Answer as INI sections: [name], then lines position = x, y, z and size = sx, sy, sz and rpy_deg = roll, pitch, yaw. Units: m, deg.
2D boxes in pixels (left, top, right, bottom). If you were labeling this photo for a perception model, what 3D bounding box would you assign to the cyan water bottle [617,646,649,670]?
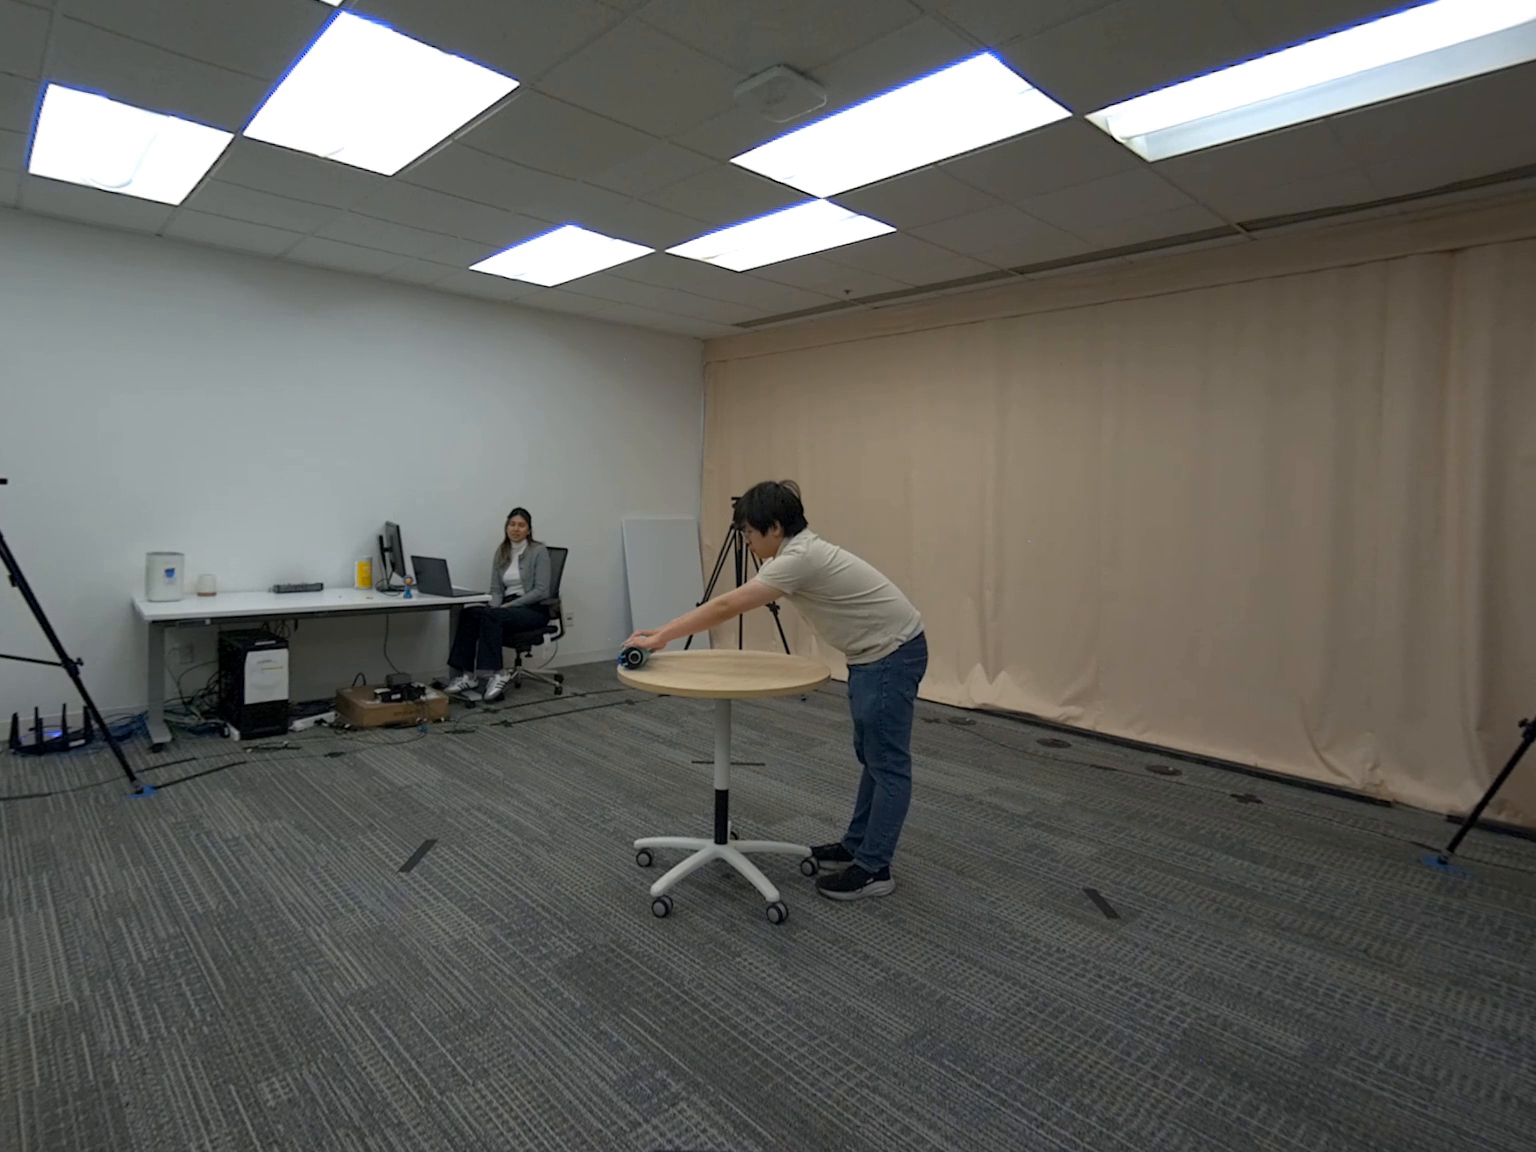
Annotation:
[cyan water bottle]
position = -0.476, 0.274, 3.083
size = 0.093, 0.092, 0.283
rpy_deg = 2, 7, 3
